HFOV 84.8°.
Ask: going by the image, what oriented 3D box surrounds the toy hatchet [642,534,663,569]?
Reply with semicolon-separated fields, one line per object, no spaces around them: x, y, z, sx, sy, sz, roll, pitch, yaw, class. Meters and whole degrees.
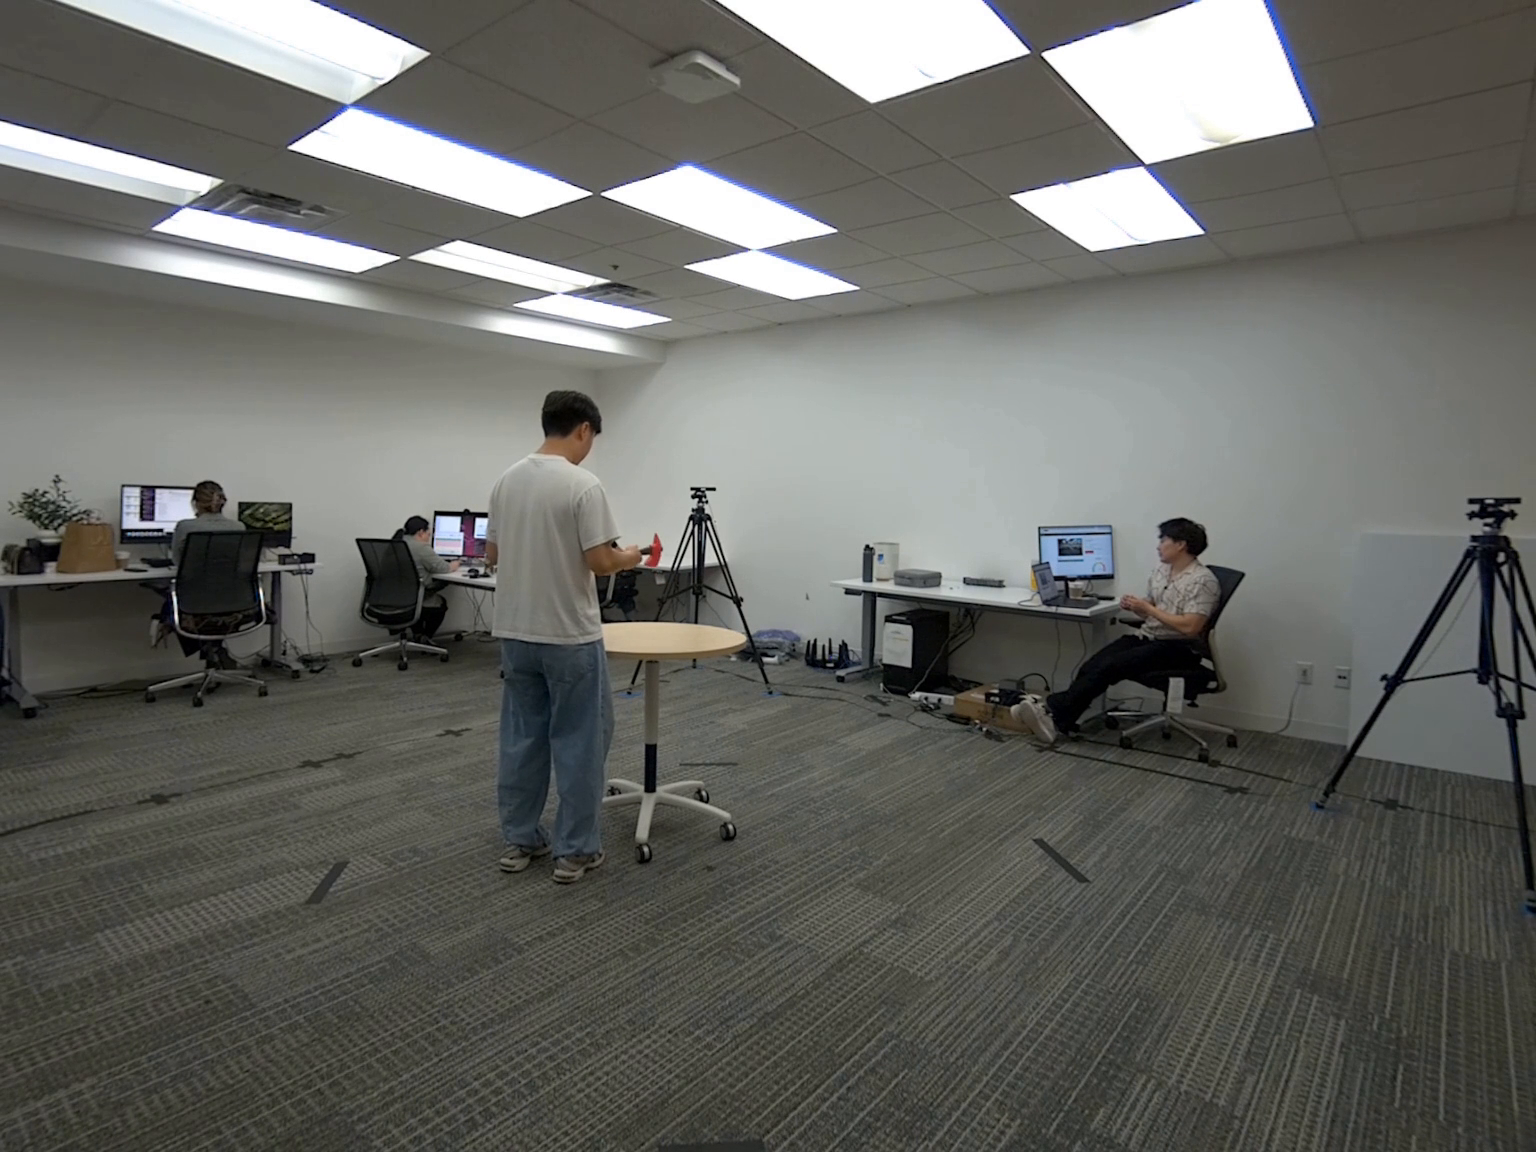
-0.538;-0.042;3.250;0.267;0.127;0.031;-33;35;-31;toy hatchet
